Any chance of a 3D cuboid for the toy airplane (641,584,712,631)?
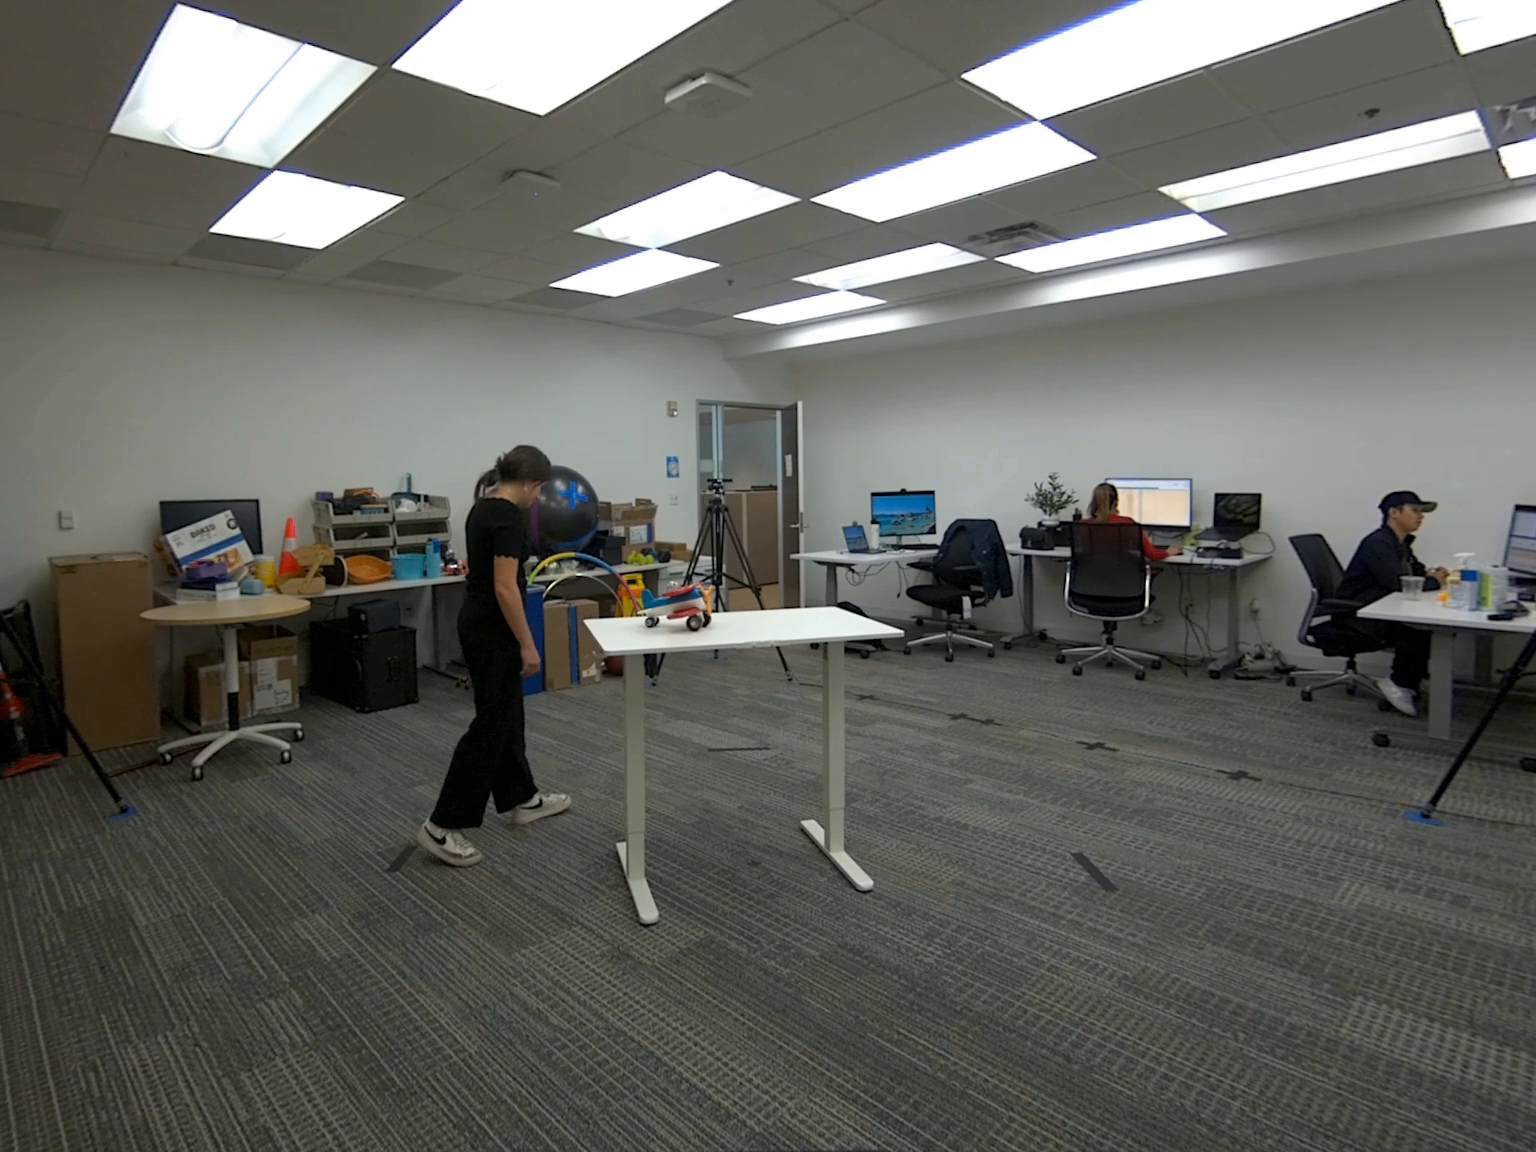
[{"bbox_3d":[-0.321,0.107,2.952,0.257,0.156,0.254,-1,4,-11],"label":"toy airplane"}]
